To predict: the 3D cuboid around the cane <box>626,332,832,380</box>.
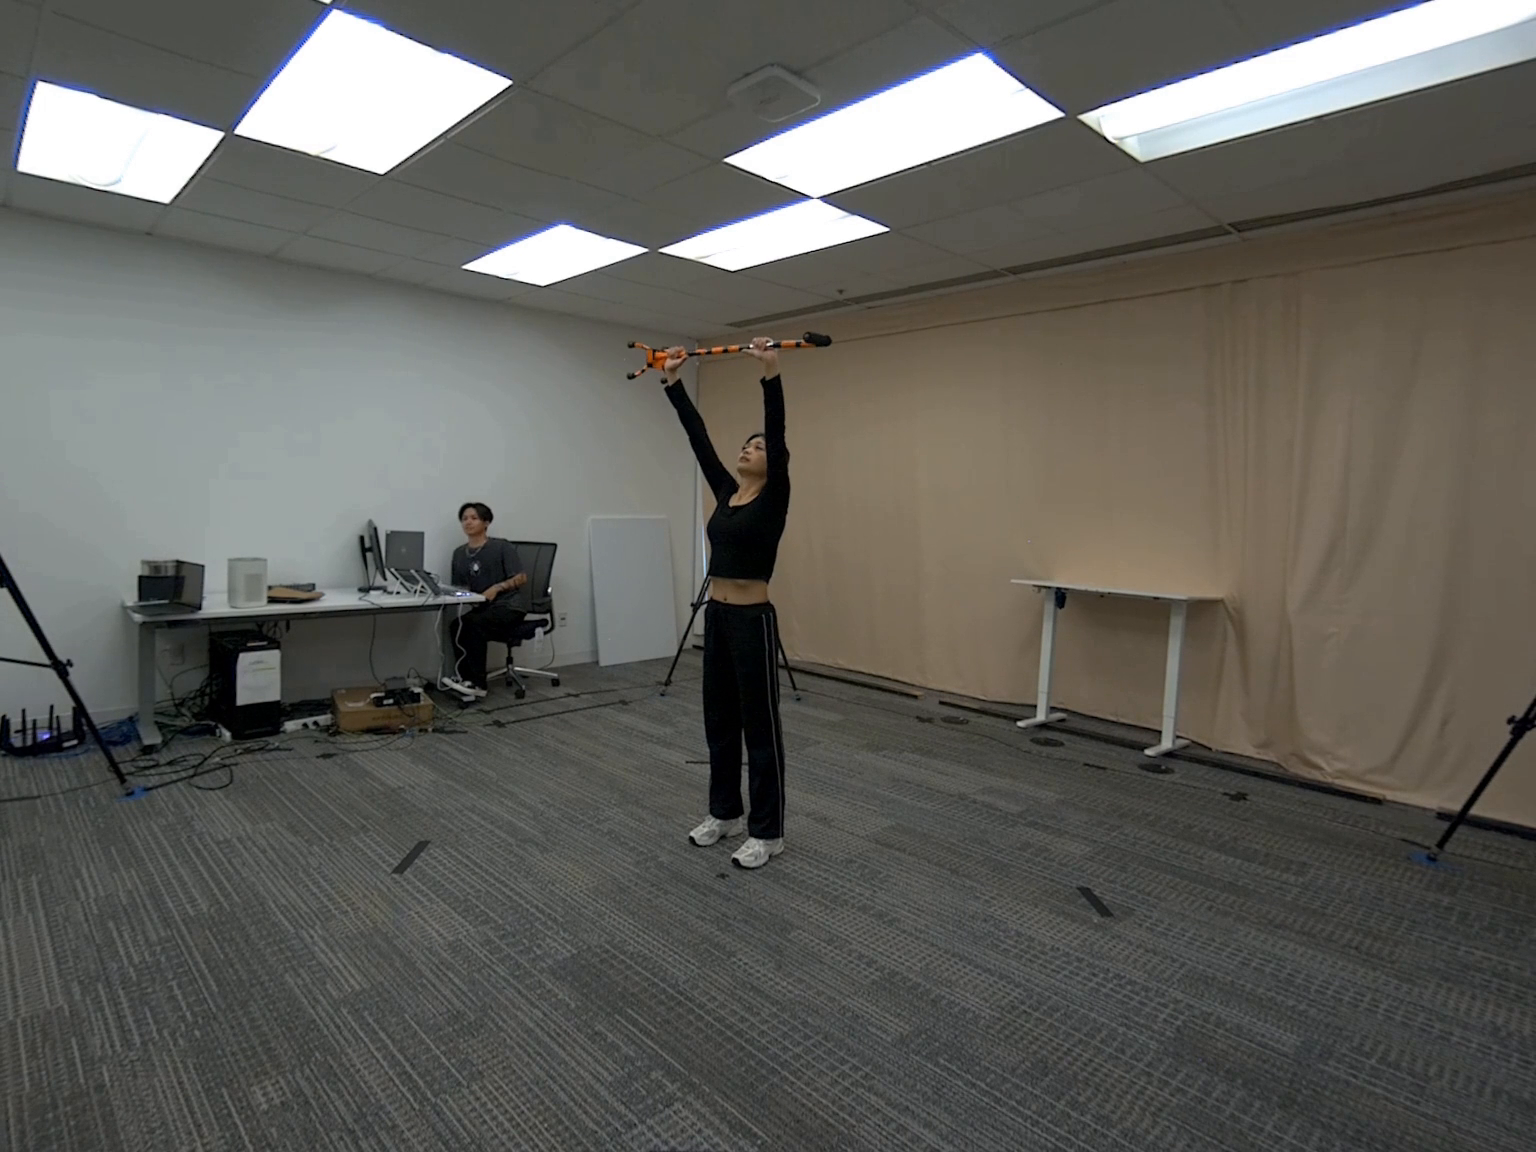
[{"bbox_3d":[-0.149,-0.805,3.051,0.932,0.151,0.202,7,10,43],"label":"cane"}]
